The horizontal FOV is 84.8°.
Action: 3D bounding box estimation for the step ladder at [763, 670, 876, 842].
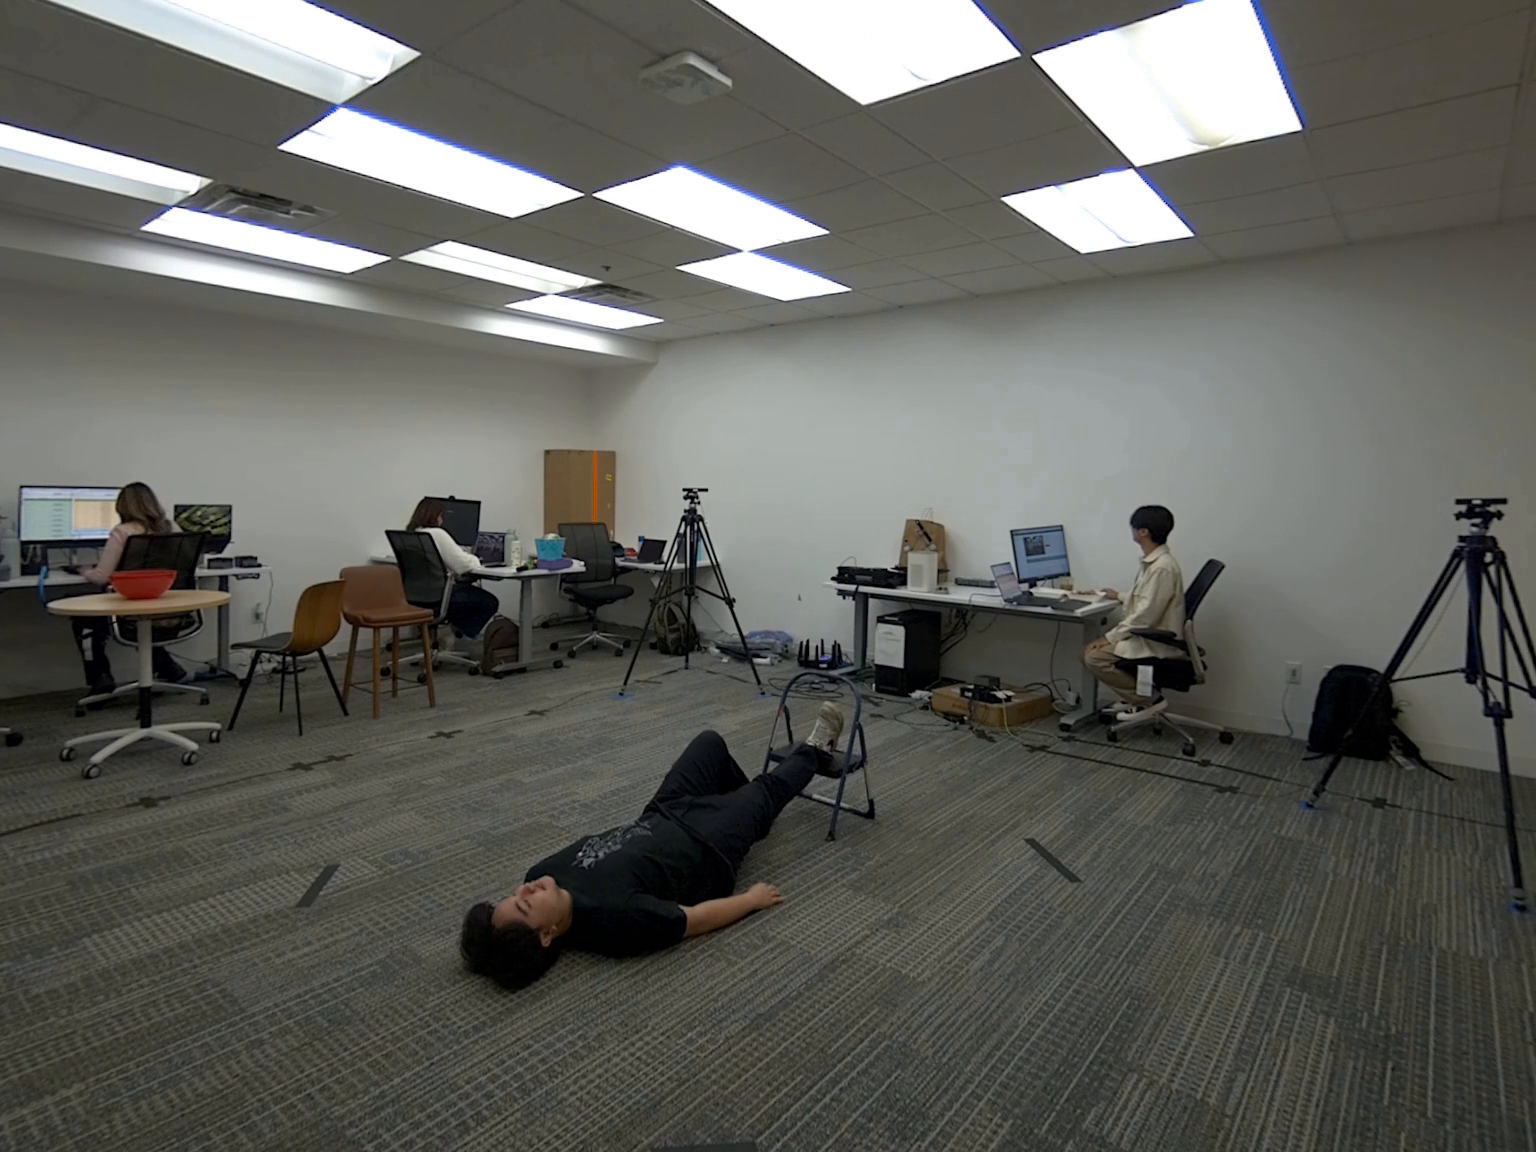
[{"bbox_3d":[0.195,0.727,3.639,0.445,0.604,0.339,5,5,40],"label":"step ladder"}]
